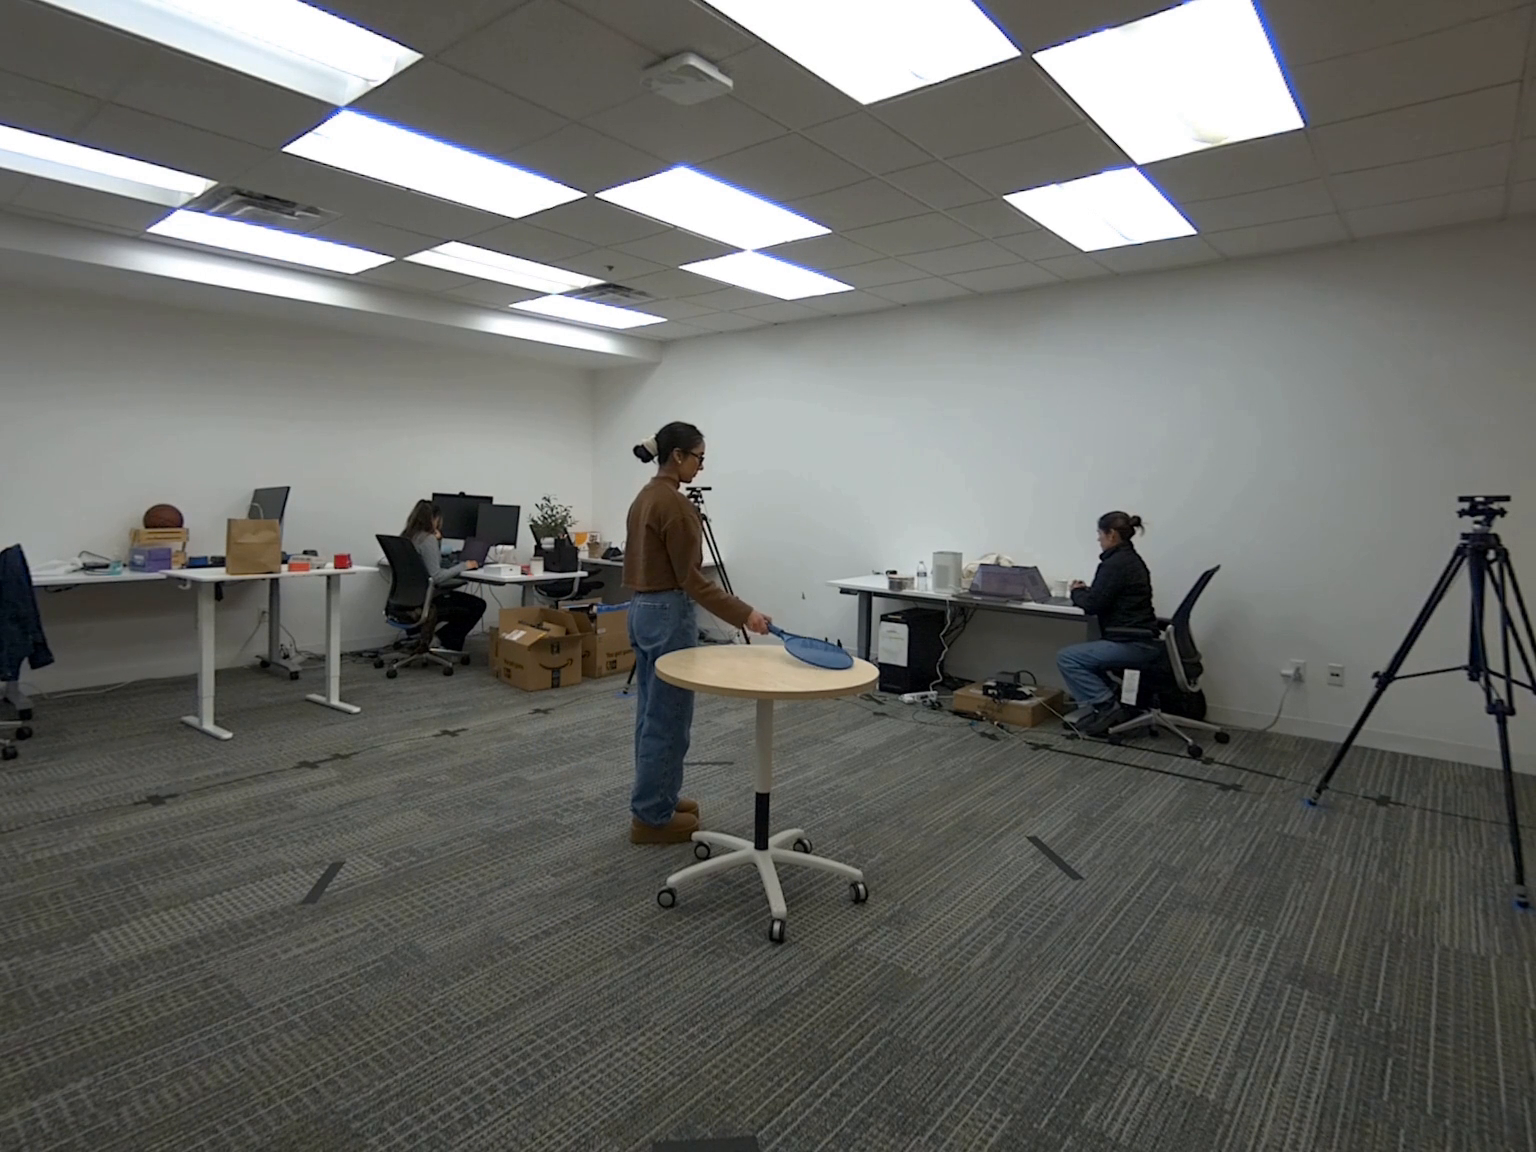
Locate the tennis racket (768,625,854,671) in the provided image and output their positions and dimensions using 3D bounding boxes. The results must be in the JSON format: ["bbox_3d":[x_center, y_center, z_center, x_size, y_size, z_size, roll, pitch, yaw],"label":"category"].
[{"bbox_3d":[0.117,0.232,3.051,0.450,0.031,0.208,21,22,40],"label":"tennis racket"}]
